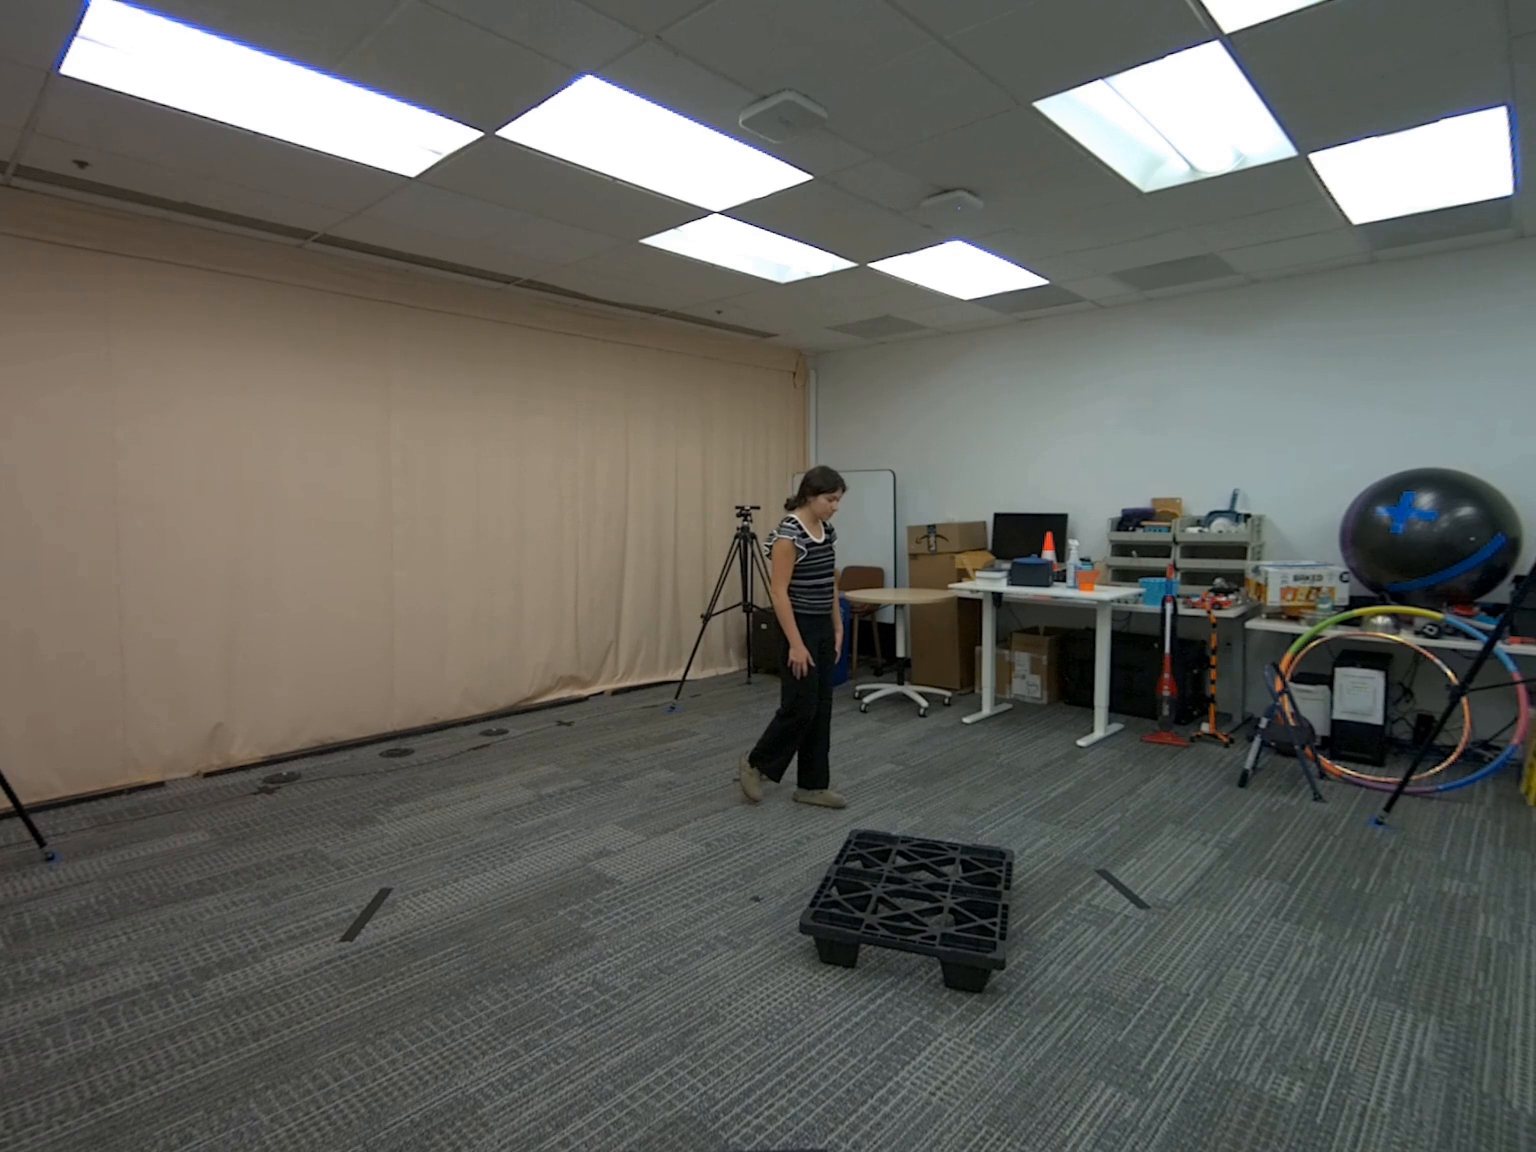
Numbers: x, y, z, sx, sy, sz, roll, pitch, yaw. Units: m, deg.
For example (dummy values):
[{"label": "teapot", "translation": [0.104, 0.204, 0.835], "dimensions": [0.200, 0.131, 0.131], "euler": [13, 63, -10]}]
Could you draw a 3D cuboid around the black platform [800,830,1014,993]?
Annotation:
[{"label": "black platform", "translation": [0.493, 1.086, 2.813], "dimensions": [0.618, 0.143, 0.791], "euler": [1, 5, 19]}]
